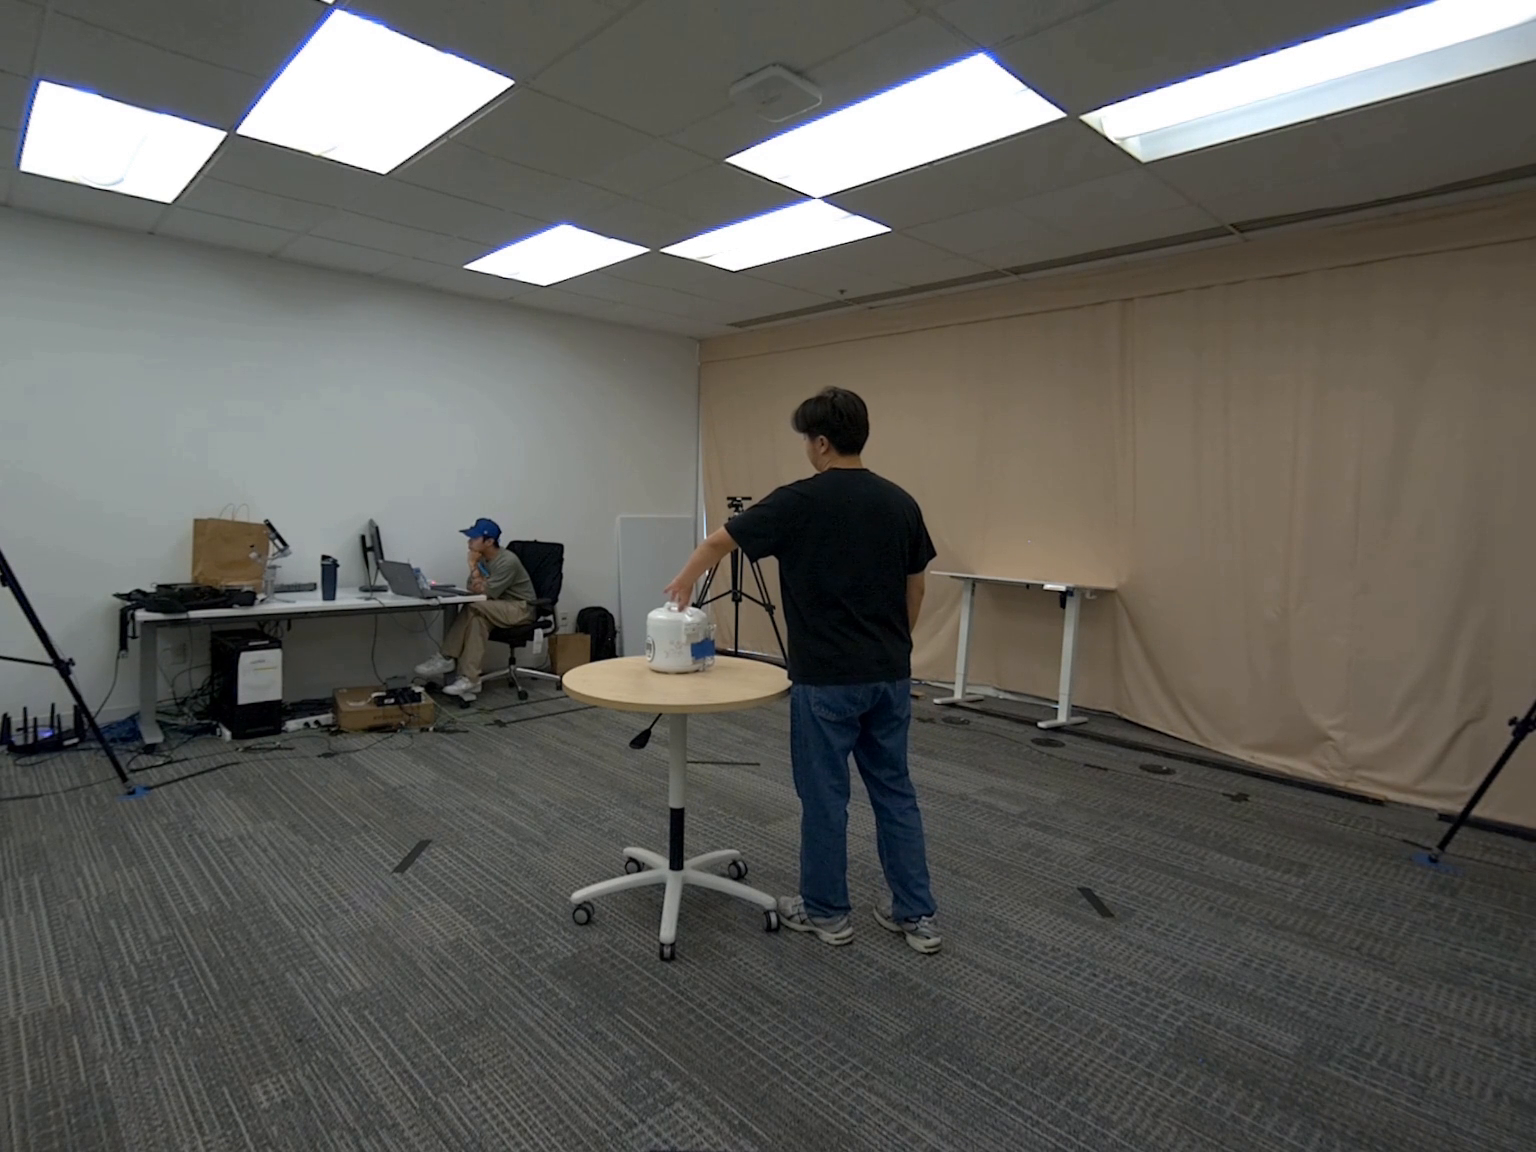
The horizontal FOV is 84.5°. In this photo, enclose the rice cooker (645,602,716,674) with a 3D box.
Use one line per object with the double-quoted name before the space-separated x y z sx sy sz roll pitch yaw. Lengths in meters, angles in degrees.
"rice cooker" -0.320 0.210 2.915 0.213 0.232 0.226 -1 3 -34
